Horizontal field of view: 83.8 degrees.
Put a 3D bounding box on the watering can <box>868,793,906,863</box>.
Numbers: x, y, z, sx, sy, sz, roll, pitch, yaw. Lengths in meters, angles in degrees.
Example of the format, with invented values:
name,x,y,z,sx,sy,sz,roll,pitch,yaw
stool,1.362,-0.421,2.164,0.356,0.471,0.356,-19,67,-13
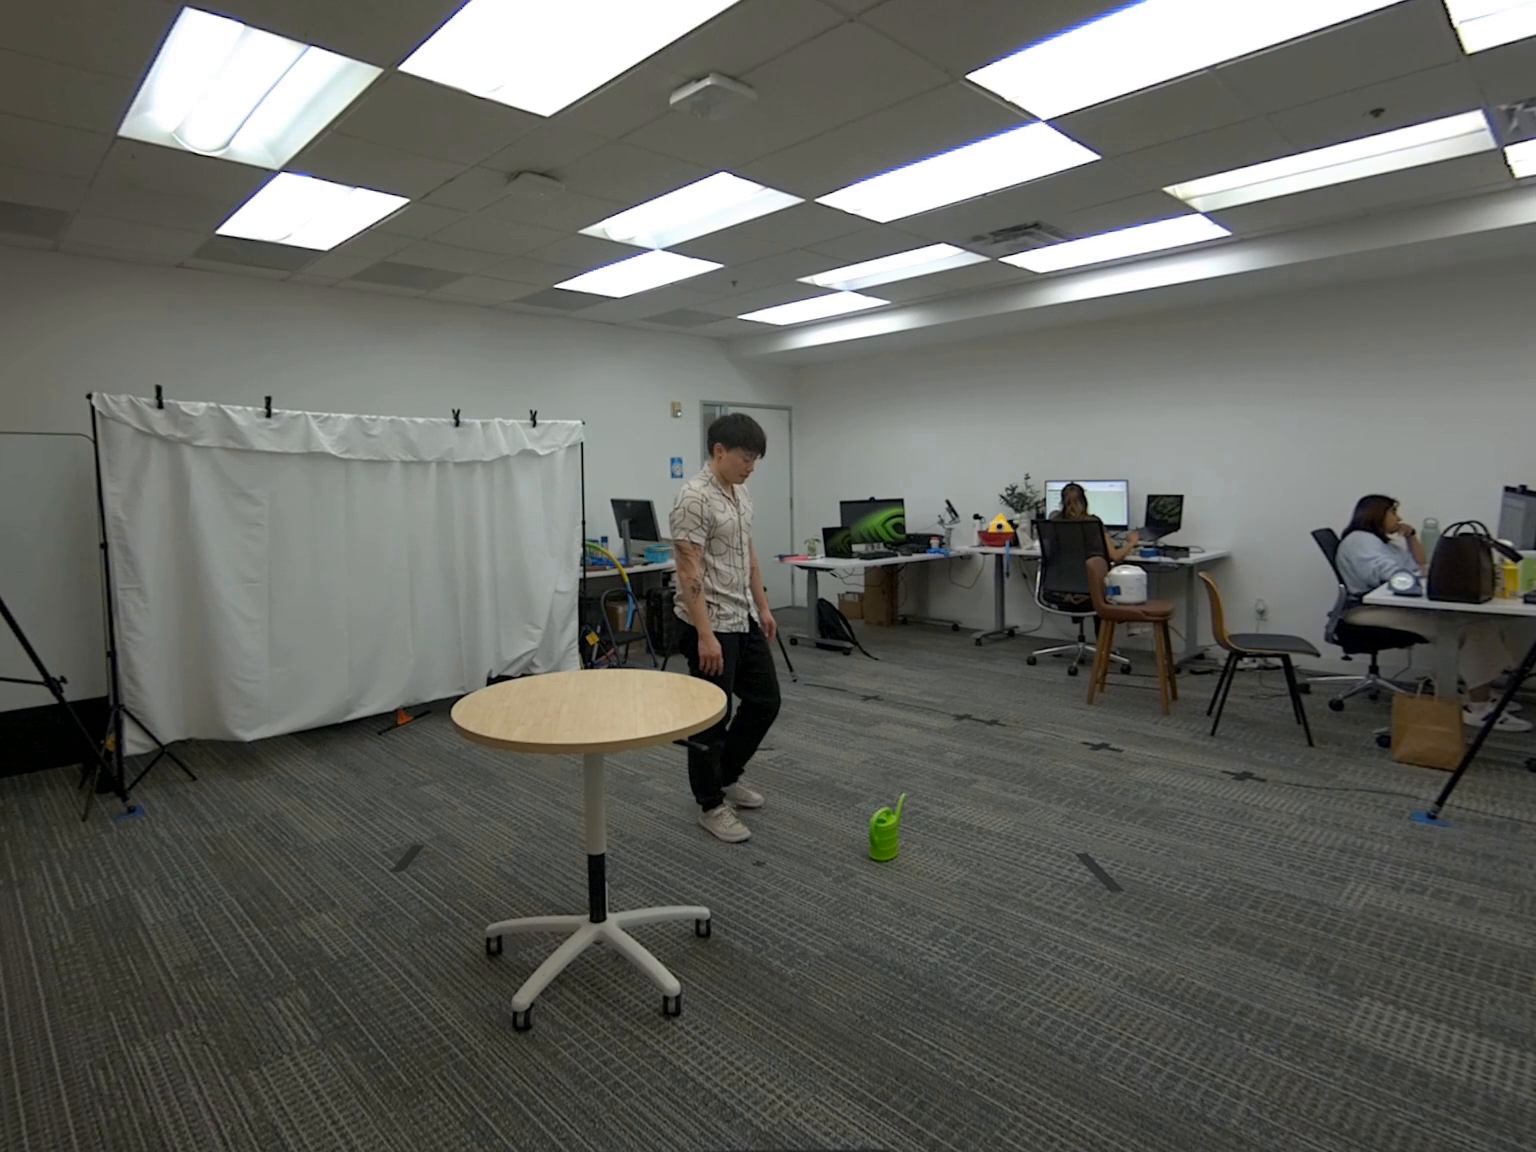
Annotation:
name,x,y,z,sx,sy,sz,roll,pitch,yaw
watering can,0.461,0.936,3.185,0.271,0.176,0.101,-7,6,-40
